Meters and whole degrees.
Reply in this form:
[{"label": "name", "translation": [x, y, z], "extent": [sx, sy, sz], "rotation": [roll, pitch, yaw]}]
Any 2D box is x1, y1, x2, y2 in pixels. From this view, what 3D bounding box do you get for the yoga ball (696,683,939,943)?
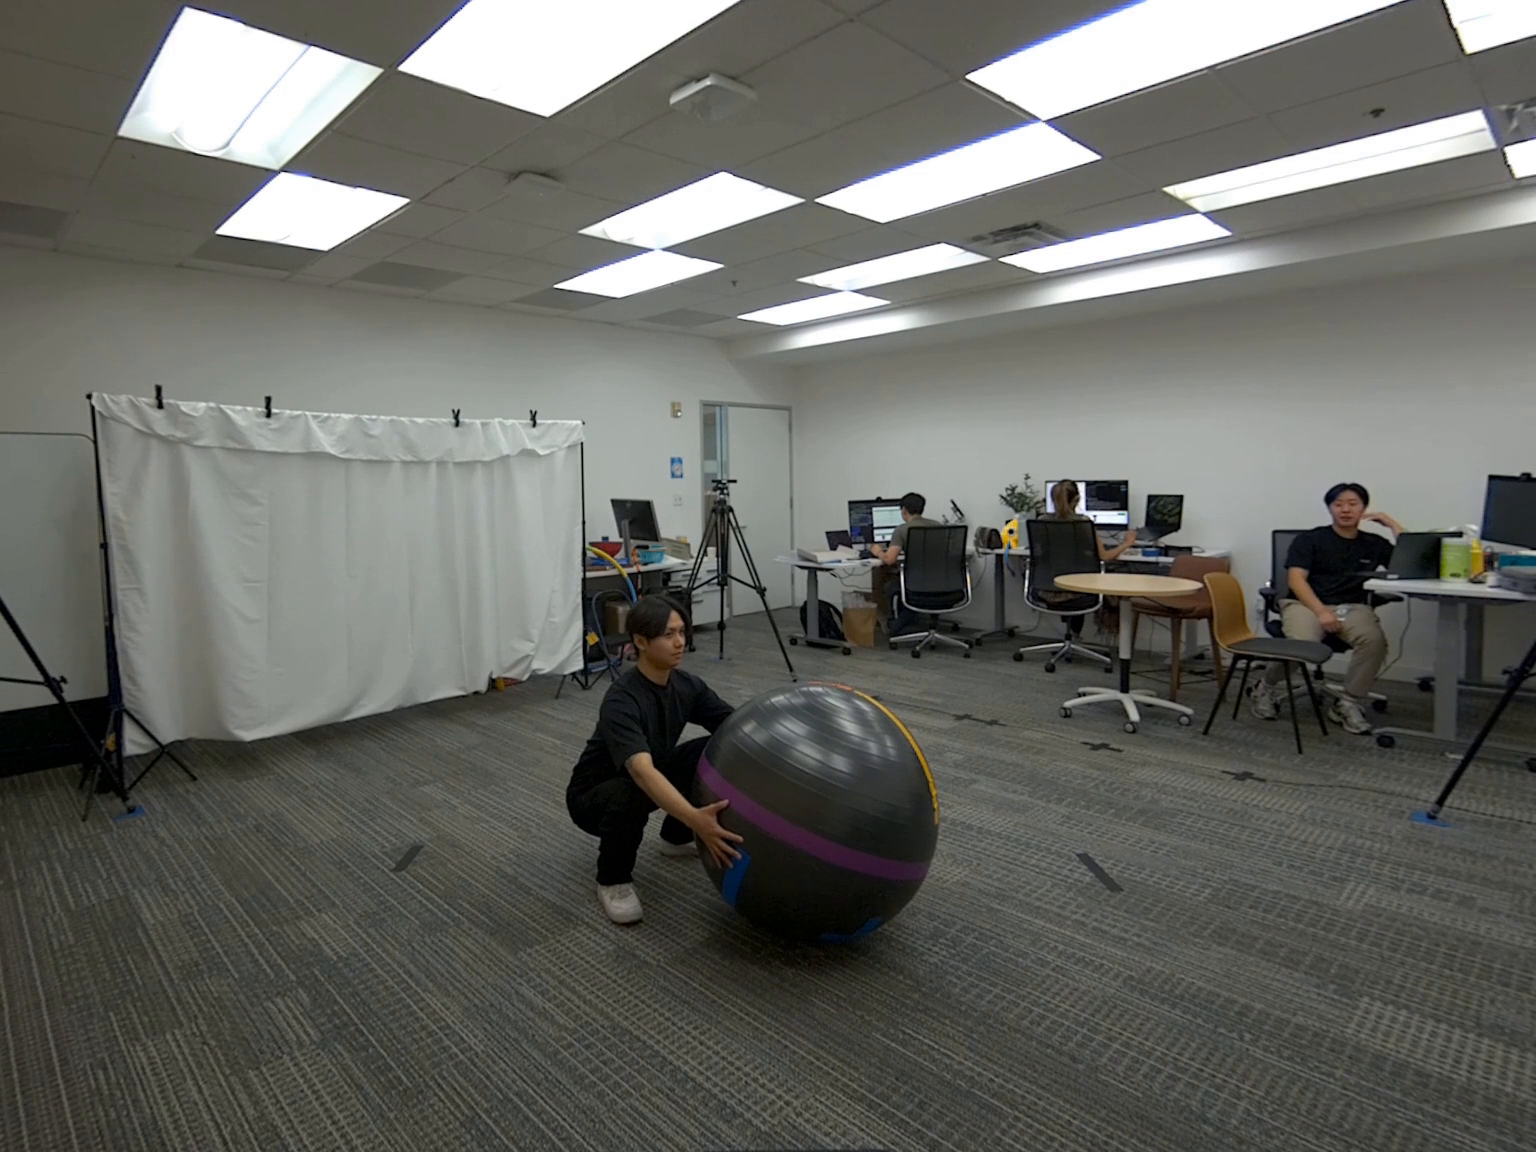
[{"label": "yoga ball", "translation": [0.151, 0.730, 2.639], "extent": [0.757, 0.755, 0.762], "rotation": [-1, 5, -2]}]
